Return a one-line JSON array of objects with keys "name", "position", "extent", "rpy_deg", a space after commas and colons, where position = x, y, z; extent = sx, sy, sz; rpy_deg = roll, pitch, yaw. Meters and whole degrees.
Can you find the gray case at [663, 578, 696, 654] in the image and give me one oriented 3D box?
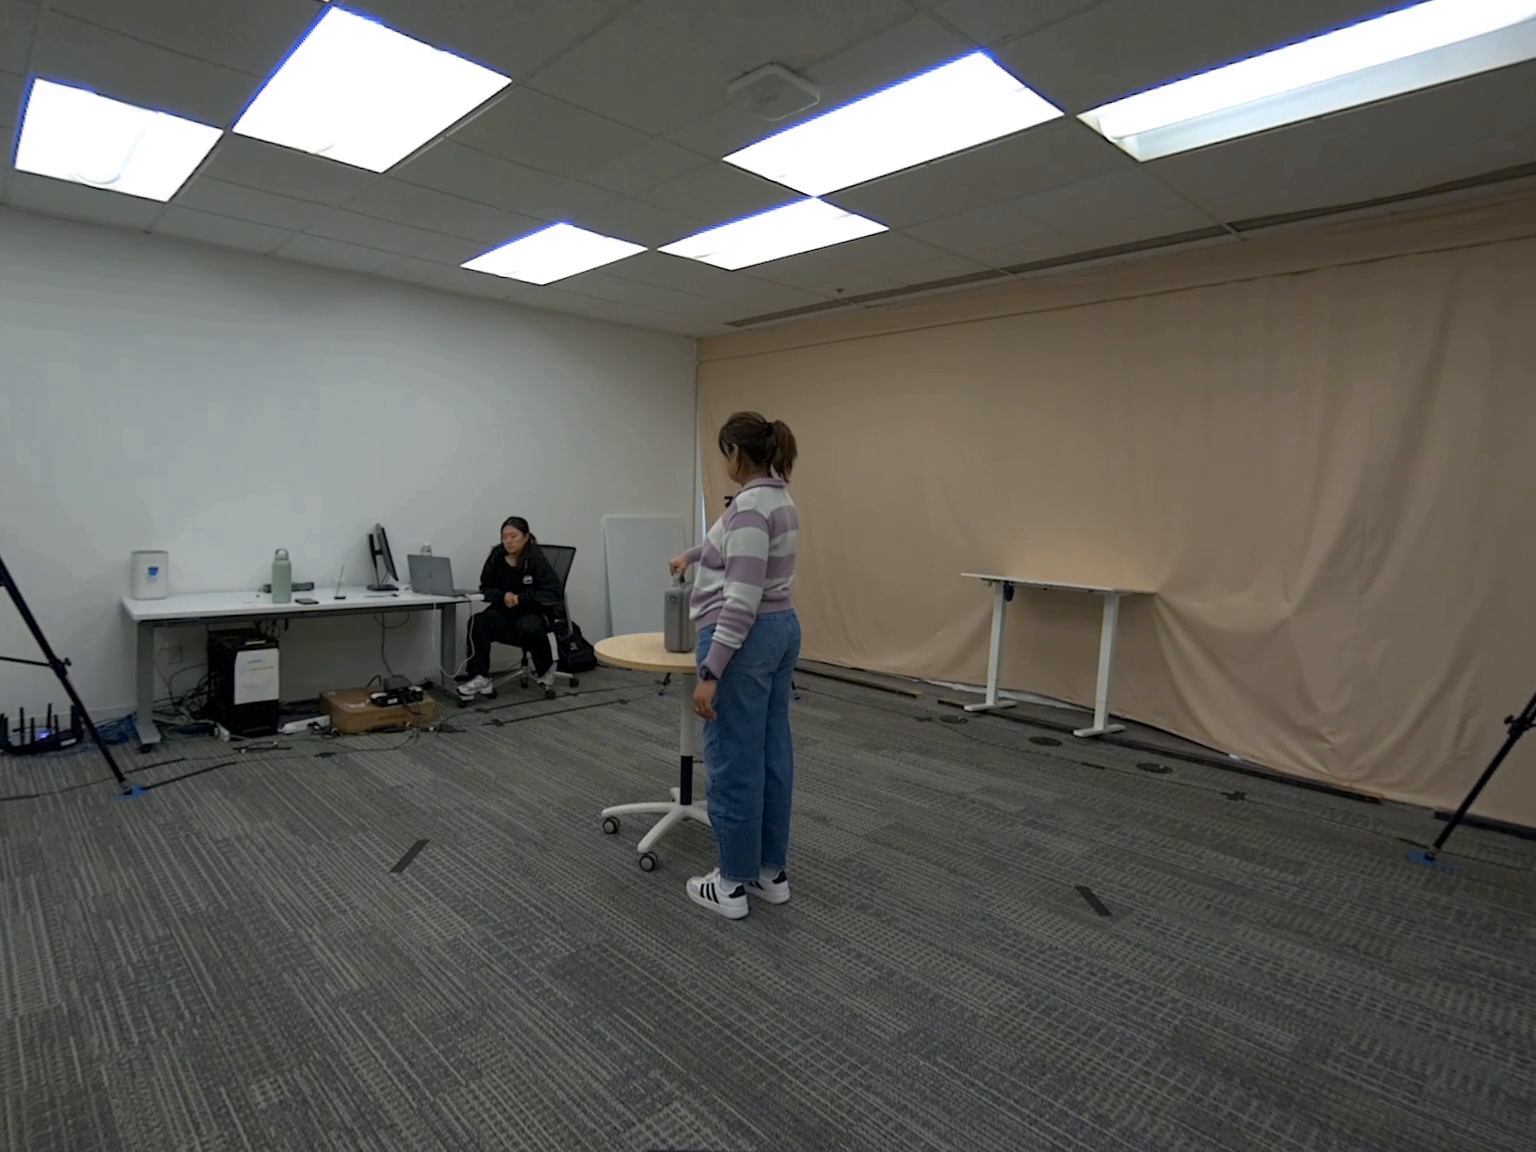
[{"name": "gray case", "position": [-0.350, 0.154, 3.365], "extent": [0.105, 0.260, 0.256], "rpy_deg": [1, 4, 6]}]
